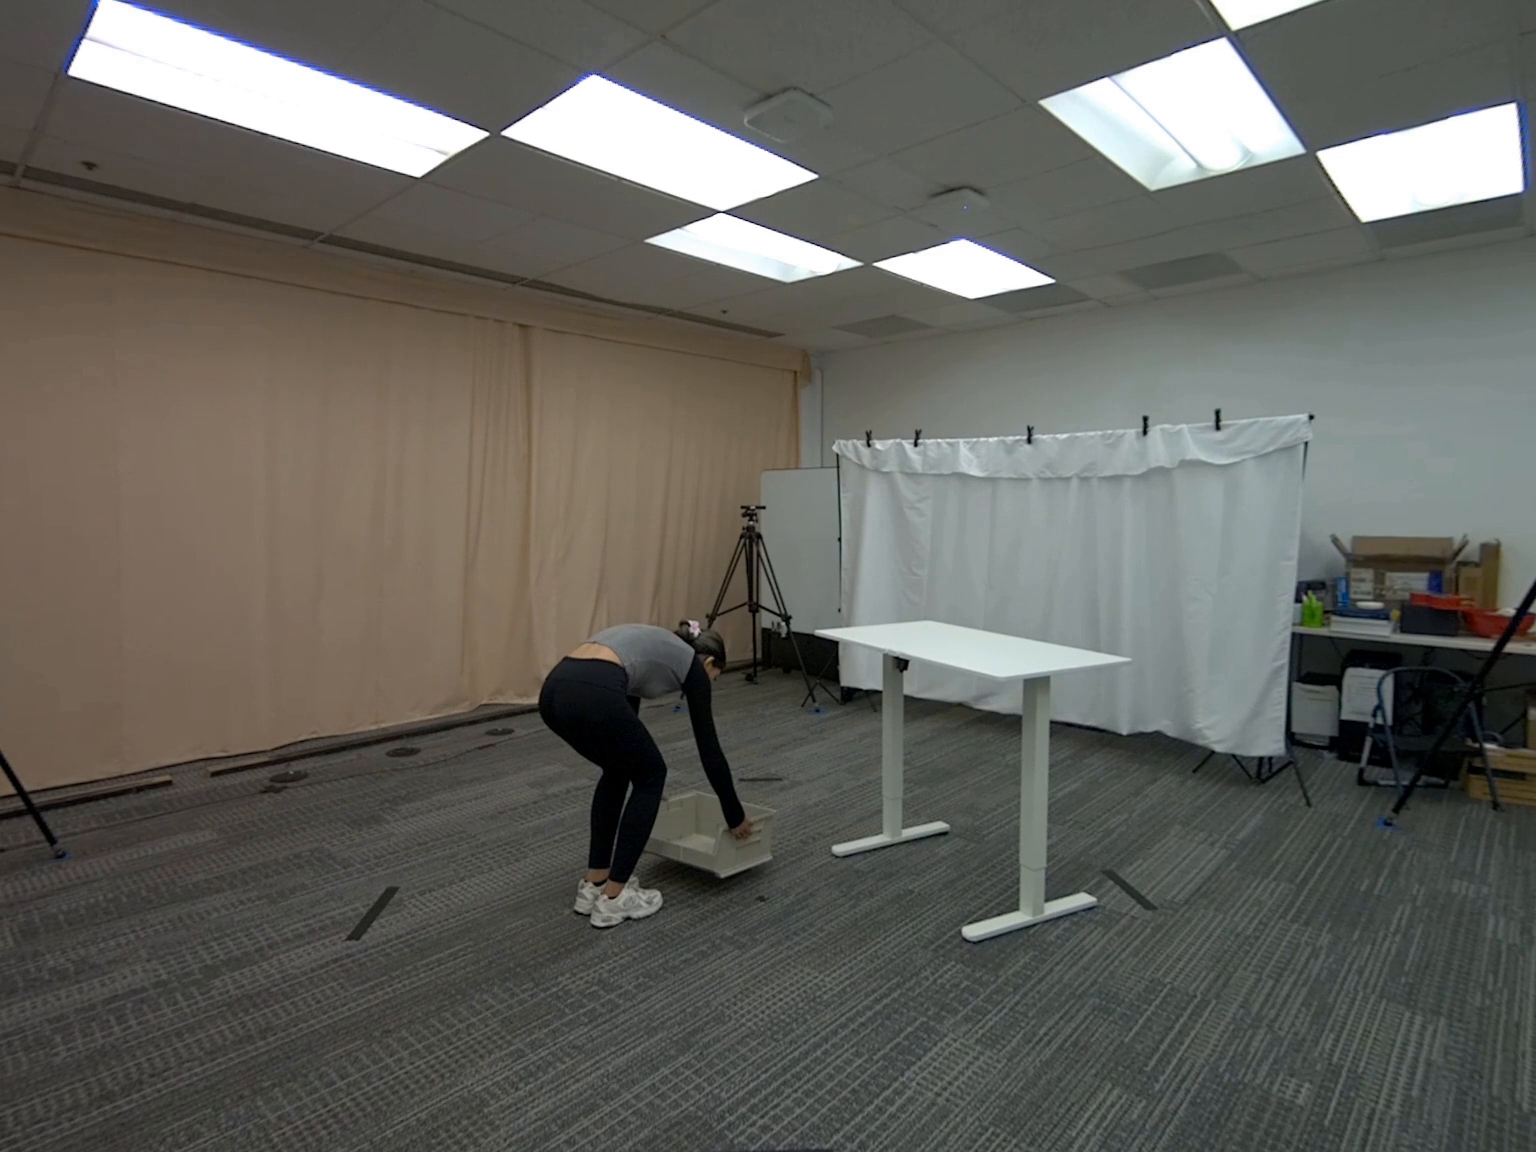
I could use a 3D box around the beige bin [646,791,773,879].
[{"bbox_3d":[-0.241,0.978,3.203,0.436,0.189,0.365,1,-3,37],"label":"beige bin"}]
